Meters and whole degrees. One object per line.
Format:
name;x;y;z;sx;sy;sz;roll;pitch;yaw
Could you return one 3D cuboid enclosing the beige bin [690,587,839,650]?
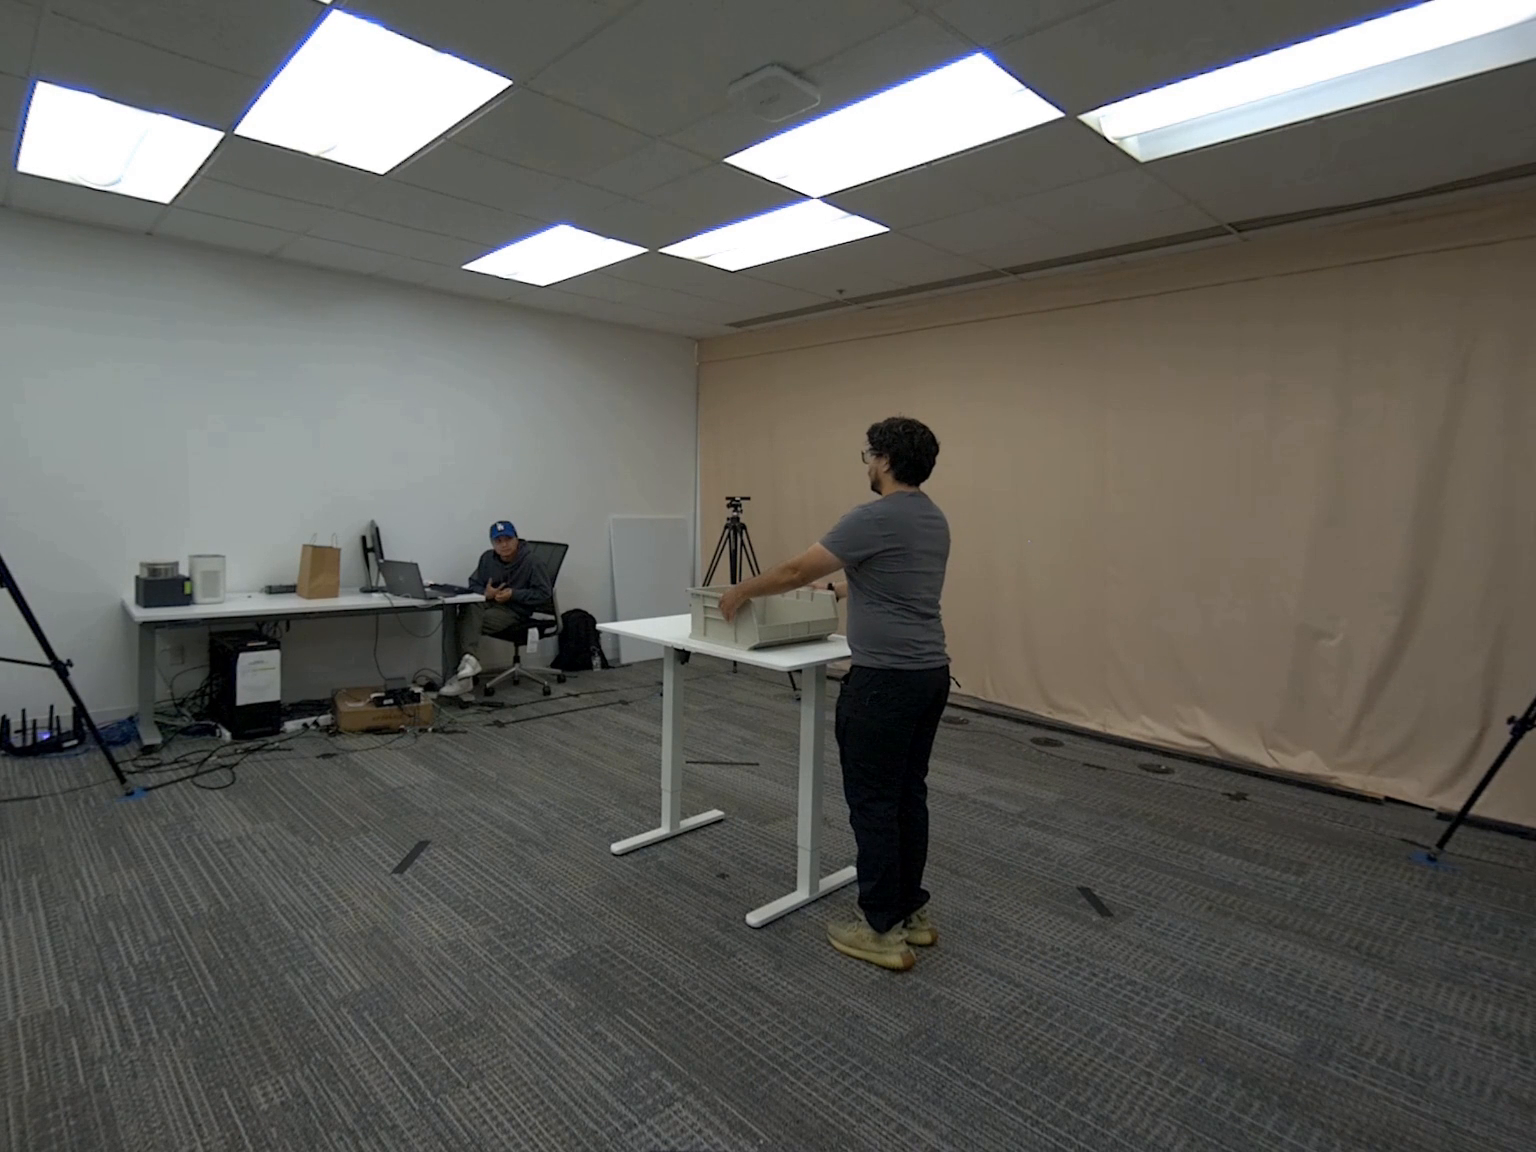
beige bin;-0.019;0.145;3.051;0.413;0.188;0.387;-5;6;-43
